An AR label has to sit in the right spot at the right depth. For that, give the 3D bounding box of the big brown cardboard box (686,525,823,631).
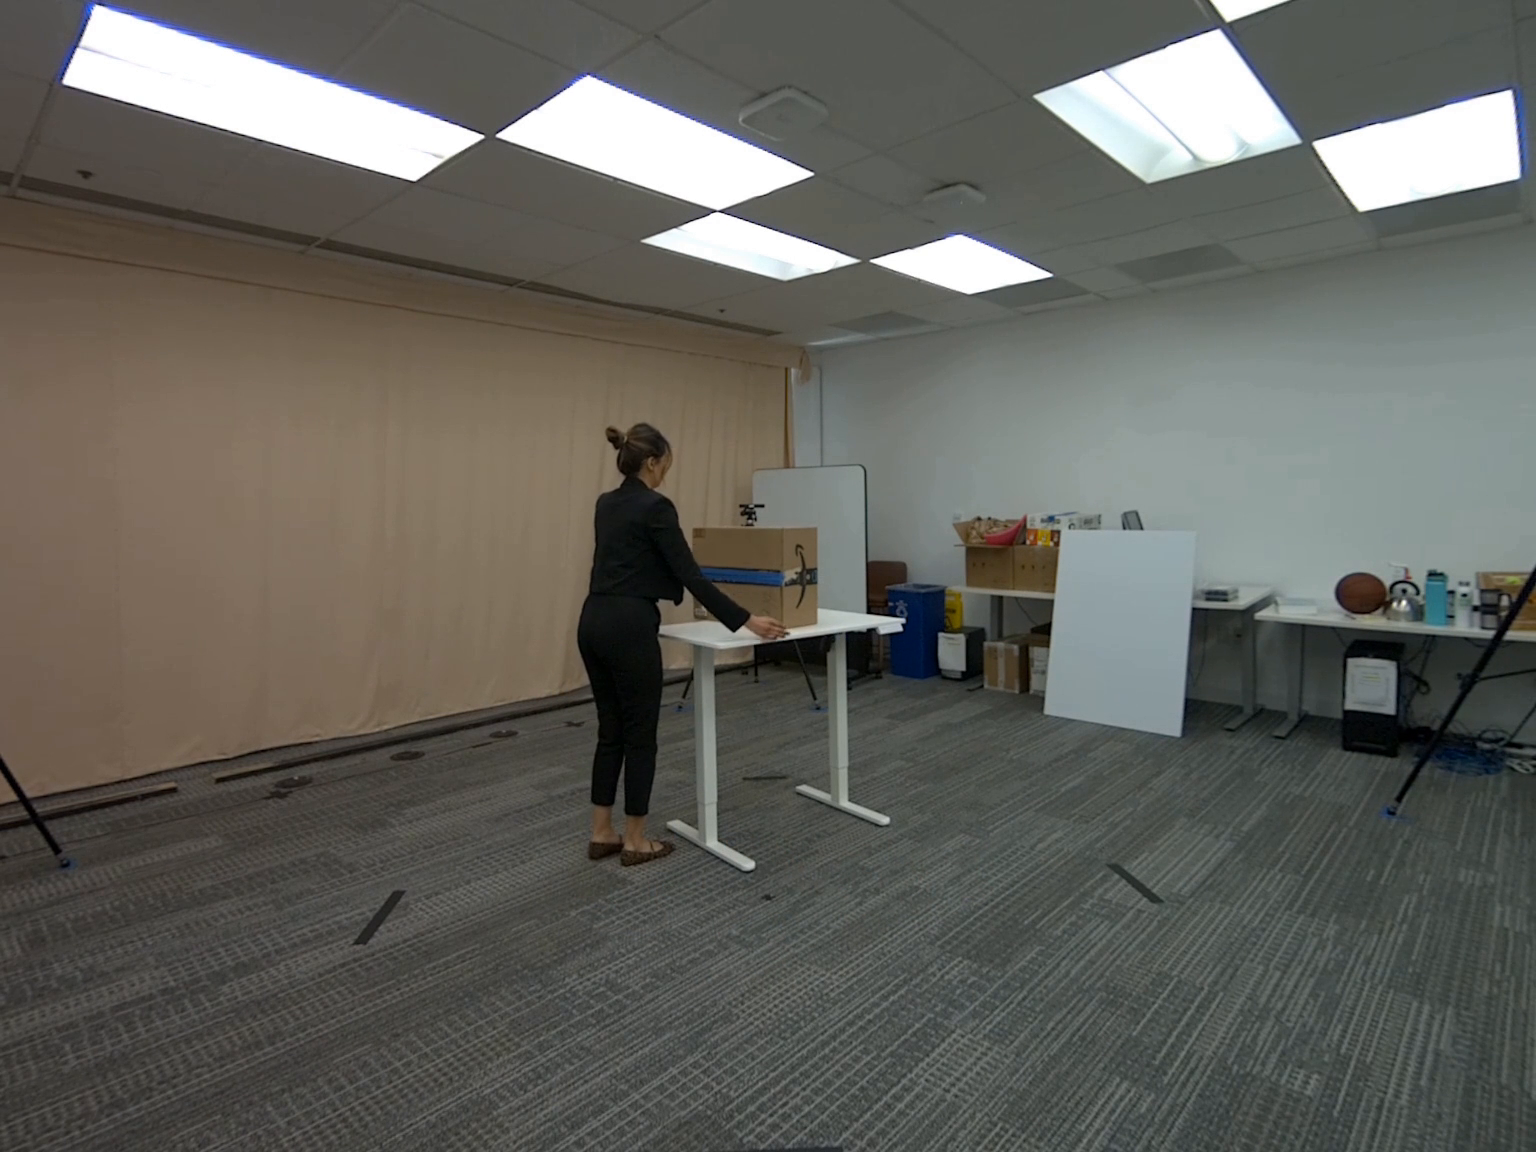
[{"bbox_3d":[-0.071,-0.009,3.691,0.226,0.417,0.608,-4,4,-44],"label":"big brown cardboard box"}]
